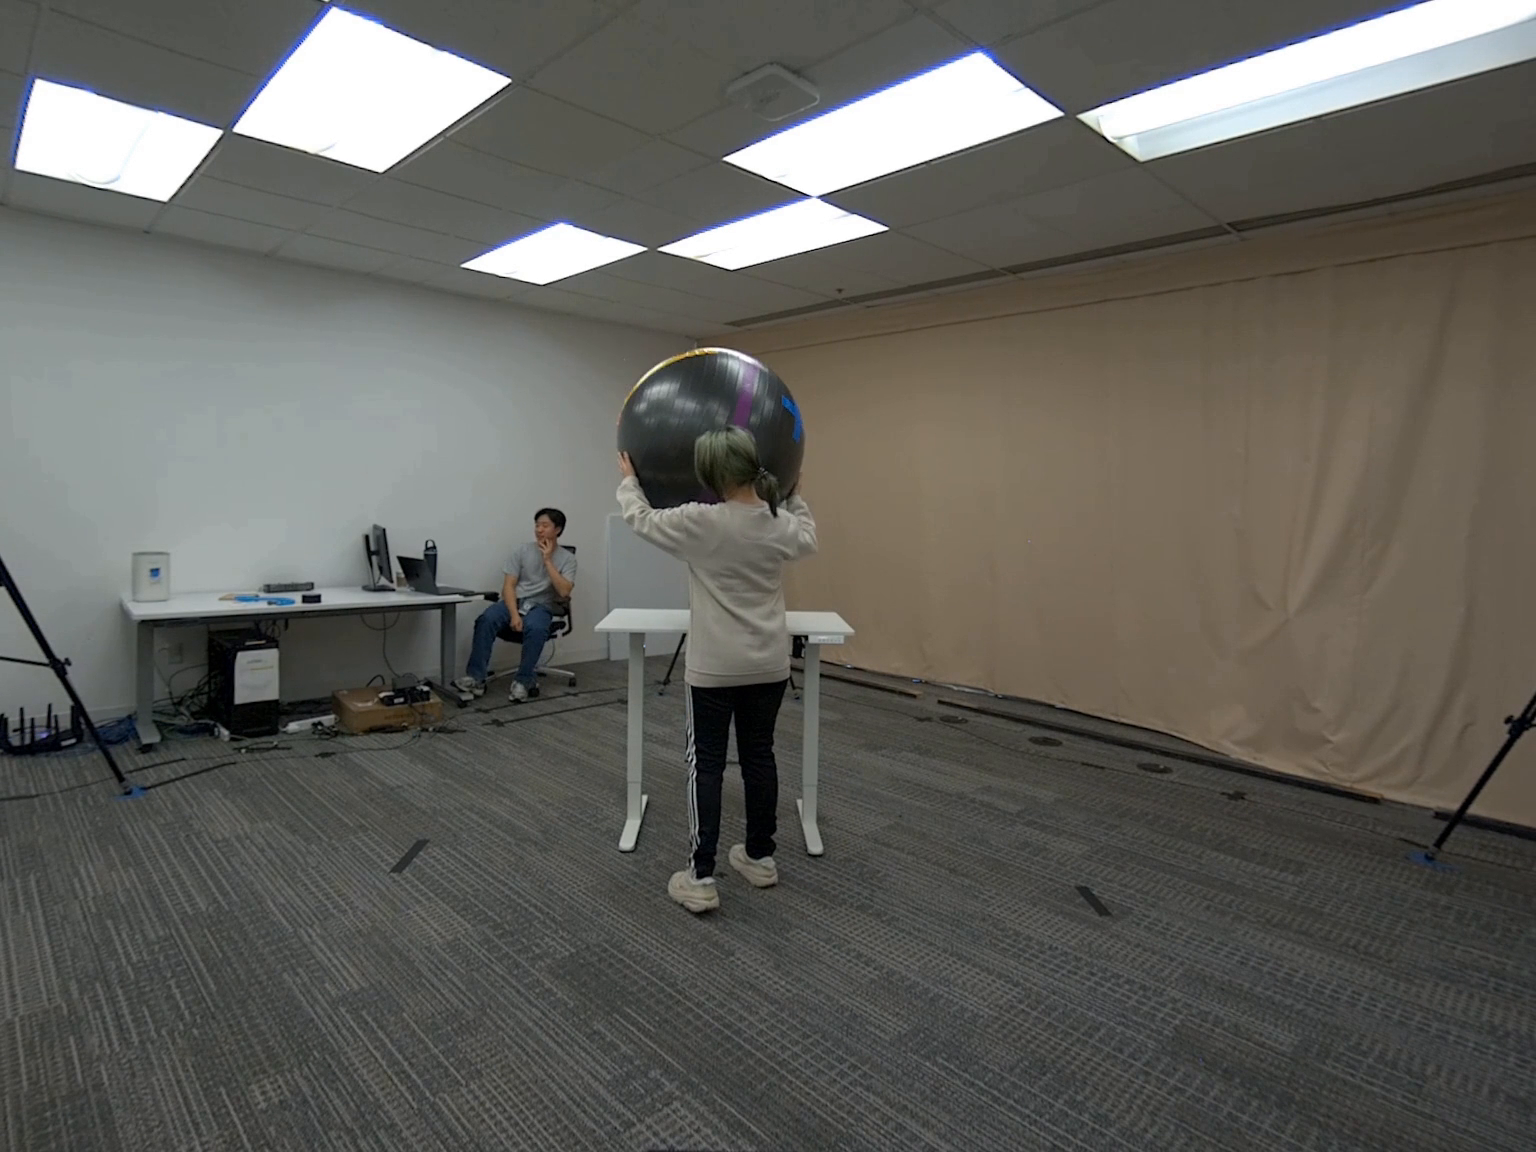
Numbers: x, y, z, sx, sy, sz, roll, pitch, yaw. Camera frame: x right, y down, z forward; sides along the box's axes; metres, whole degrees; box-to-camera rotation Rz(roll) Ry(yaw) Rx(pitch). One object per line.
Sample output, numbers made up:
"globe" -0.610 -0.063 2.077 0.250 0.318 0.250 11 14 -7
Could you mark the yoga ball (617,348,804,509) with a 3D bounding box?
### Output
"yoga ball" -0.240 -0.536 3.419 0.757 0.756 0.761 1 4 -1
